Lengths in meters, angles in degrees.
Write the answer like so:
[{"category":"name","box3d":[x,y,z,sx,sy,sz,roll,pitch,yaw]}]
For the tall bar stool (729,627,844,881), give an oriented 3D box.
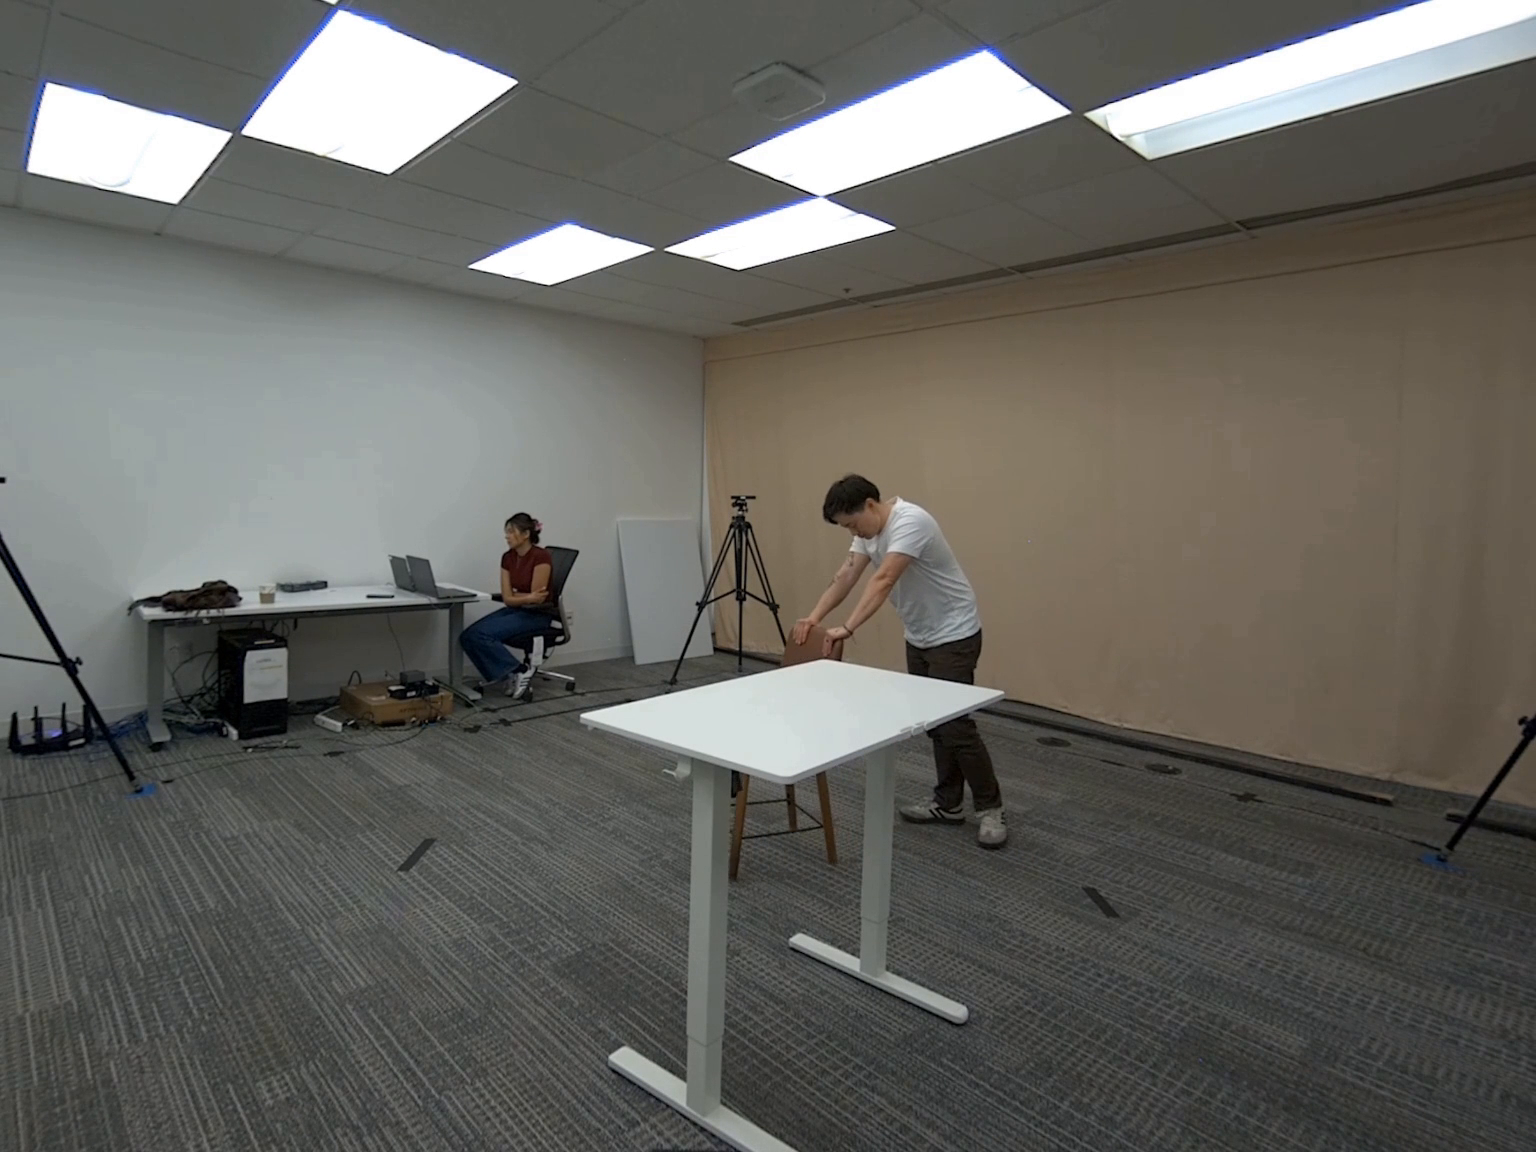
[{"category":"tall bar stool","box3d":[0.000,0.655,3.288,0.459,0.888,0.465,2,3,-24]}]
